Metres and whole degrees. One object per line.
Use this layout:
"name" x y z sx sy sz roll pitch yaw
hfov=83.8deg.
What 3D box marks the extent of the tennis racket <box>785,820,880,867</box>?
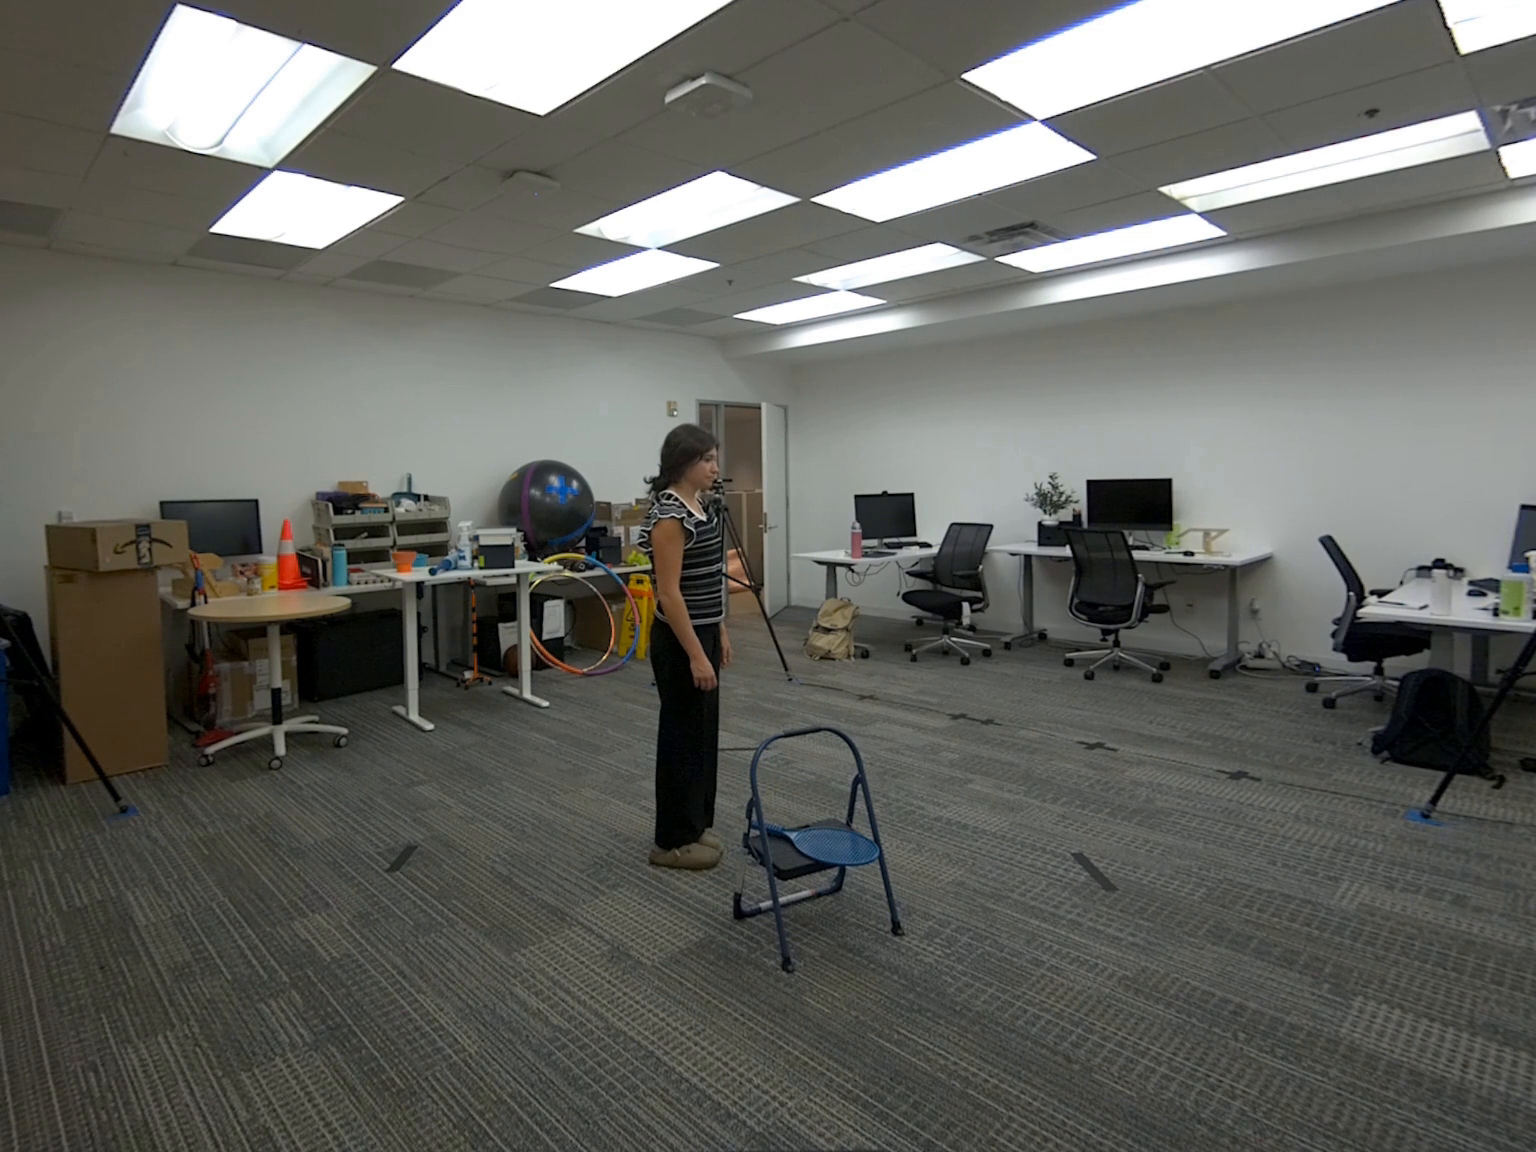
"tennis racket" 0.127 0.823 2.666 0.442 0.031 0.210 4 10 23
